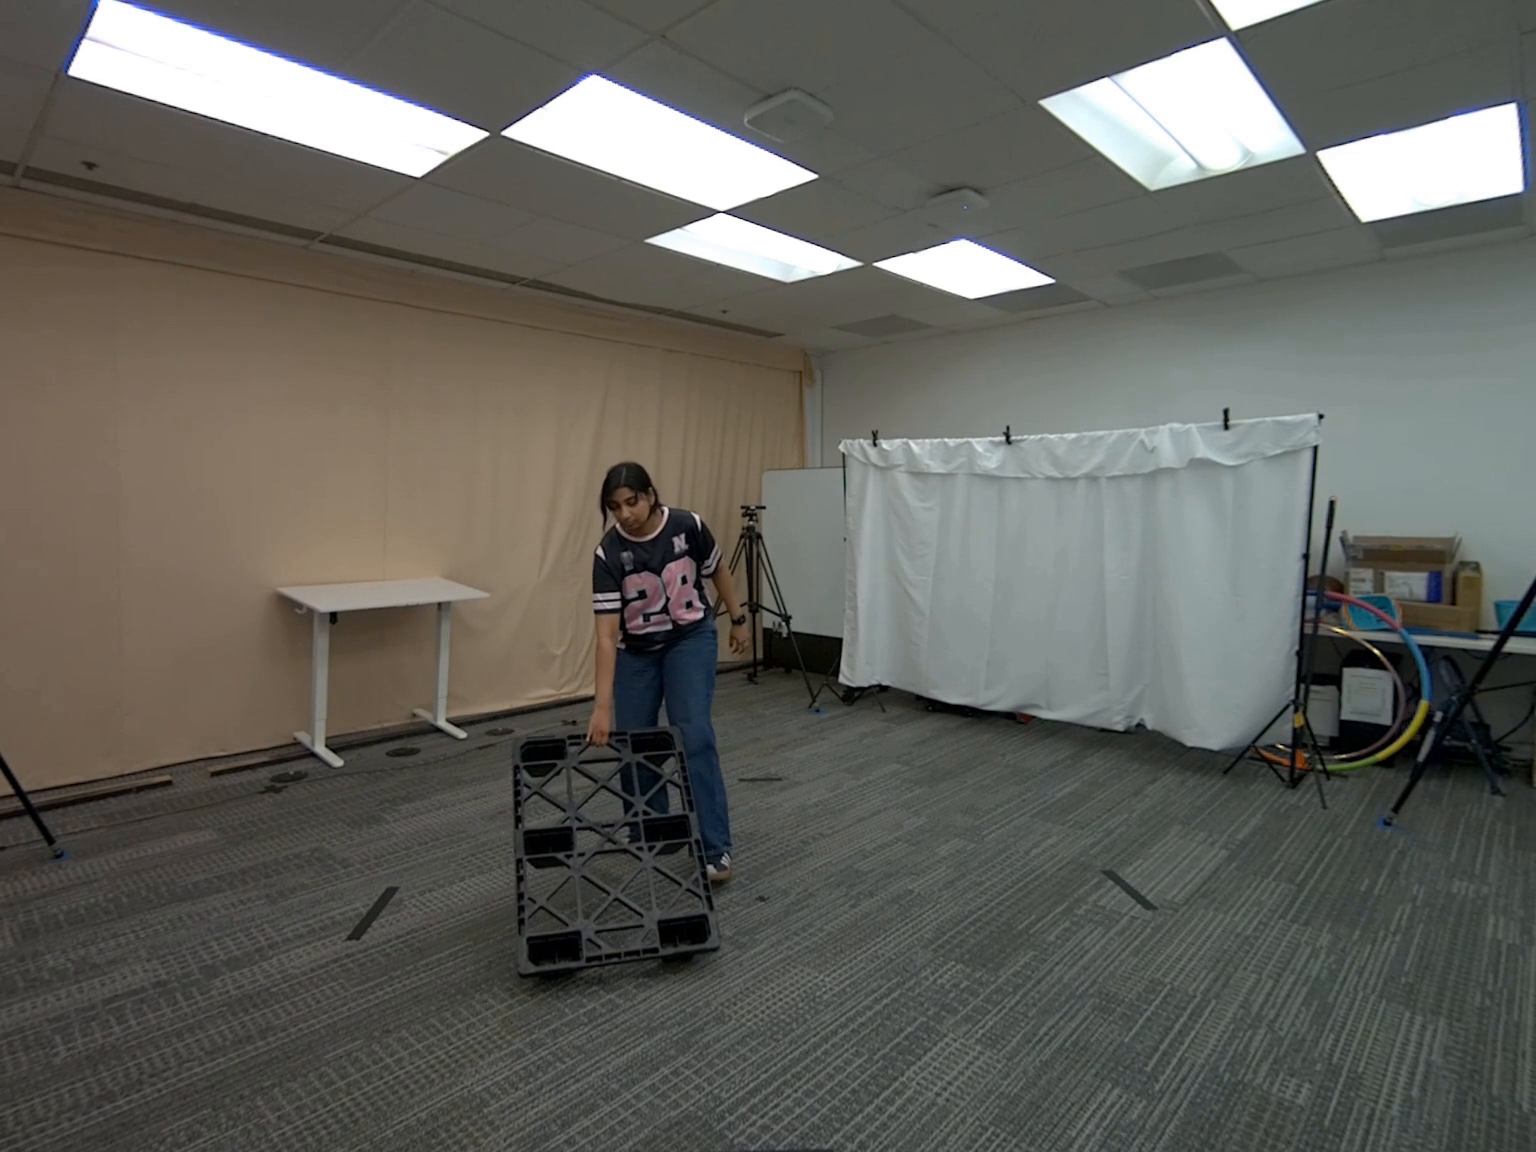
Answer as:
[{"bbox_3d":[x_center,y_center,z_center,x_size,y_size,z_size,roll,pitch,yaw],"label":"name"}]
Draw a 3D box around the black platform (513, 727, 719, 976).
[{"bbox_3d":[-0.529,0.878,2.769,0.596,0.141,0.828,-3,44,-15],"label":"black platform"}]
